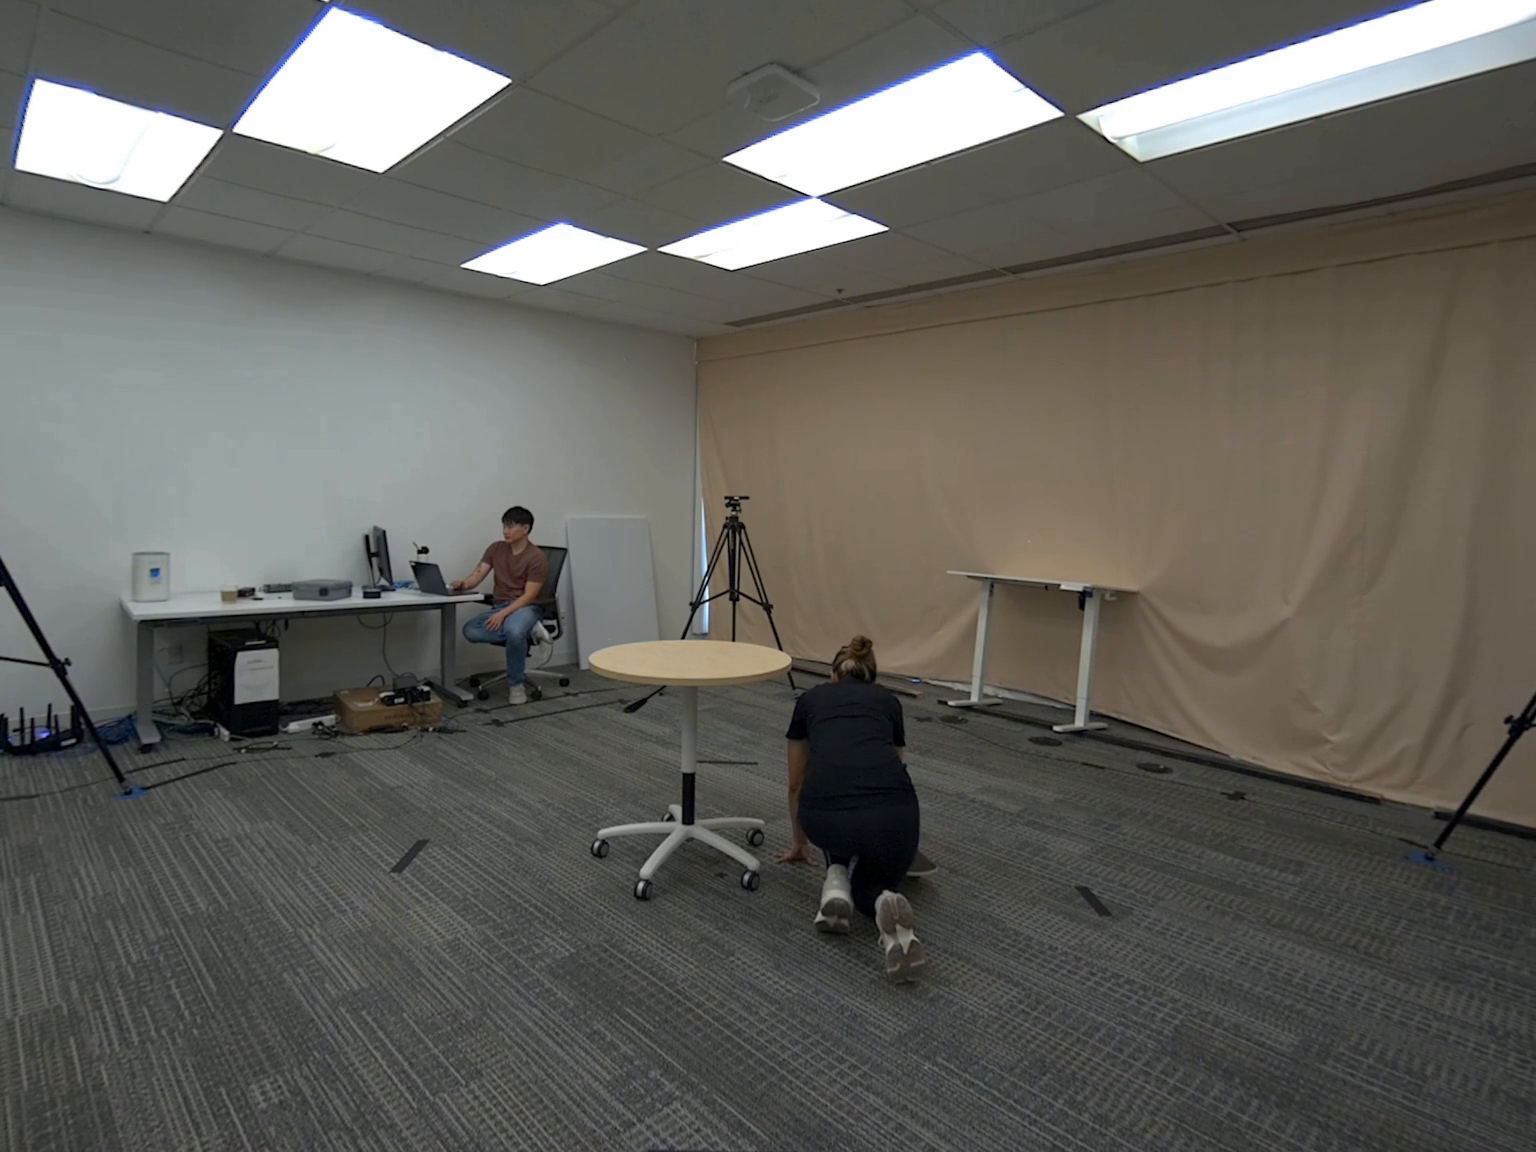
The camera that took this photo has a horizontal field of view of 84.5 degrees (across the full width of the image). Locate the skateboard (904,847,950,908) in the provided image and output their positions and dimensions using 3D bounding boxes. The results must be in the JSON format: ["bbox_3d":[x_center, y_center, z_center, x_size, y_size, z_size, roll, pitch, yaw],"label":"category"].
[{"bbox_3d":[0.412,1.046,3.305,0.191,0.110,0.799,1,5,-18],"label":"skateboard"}]
